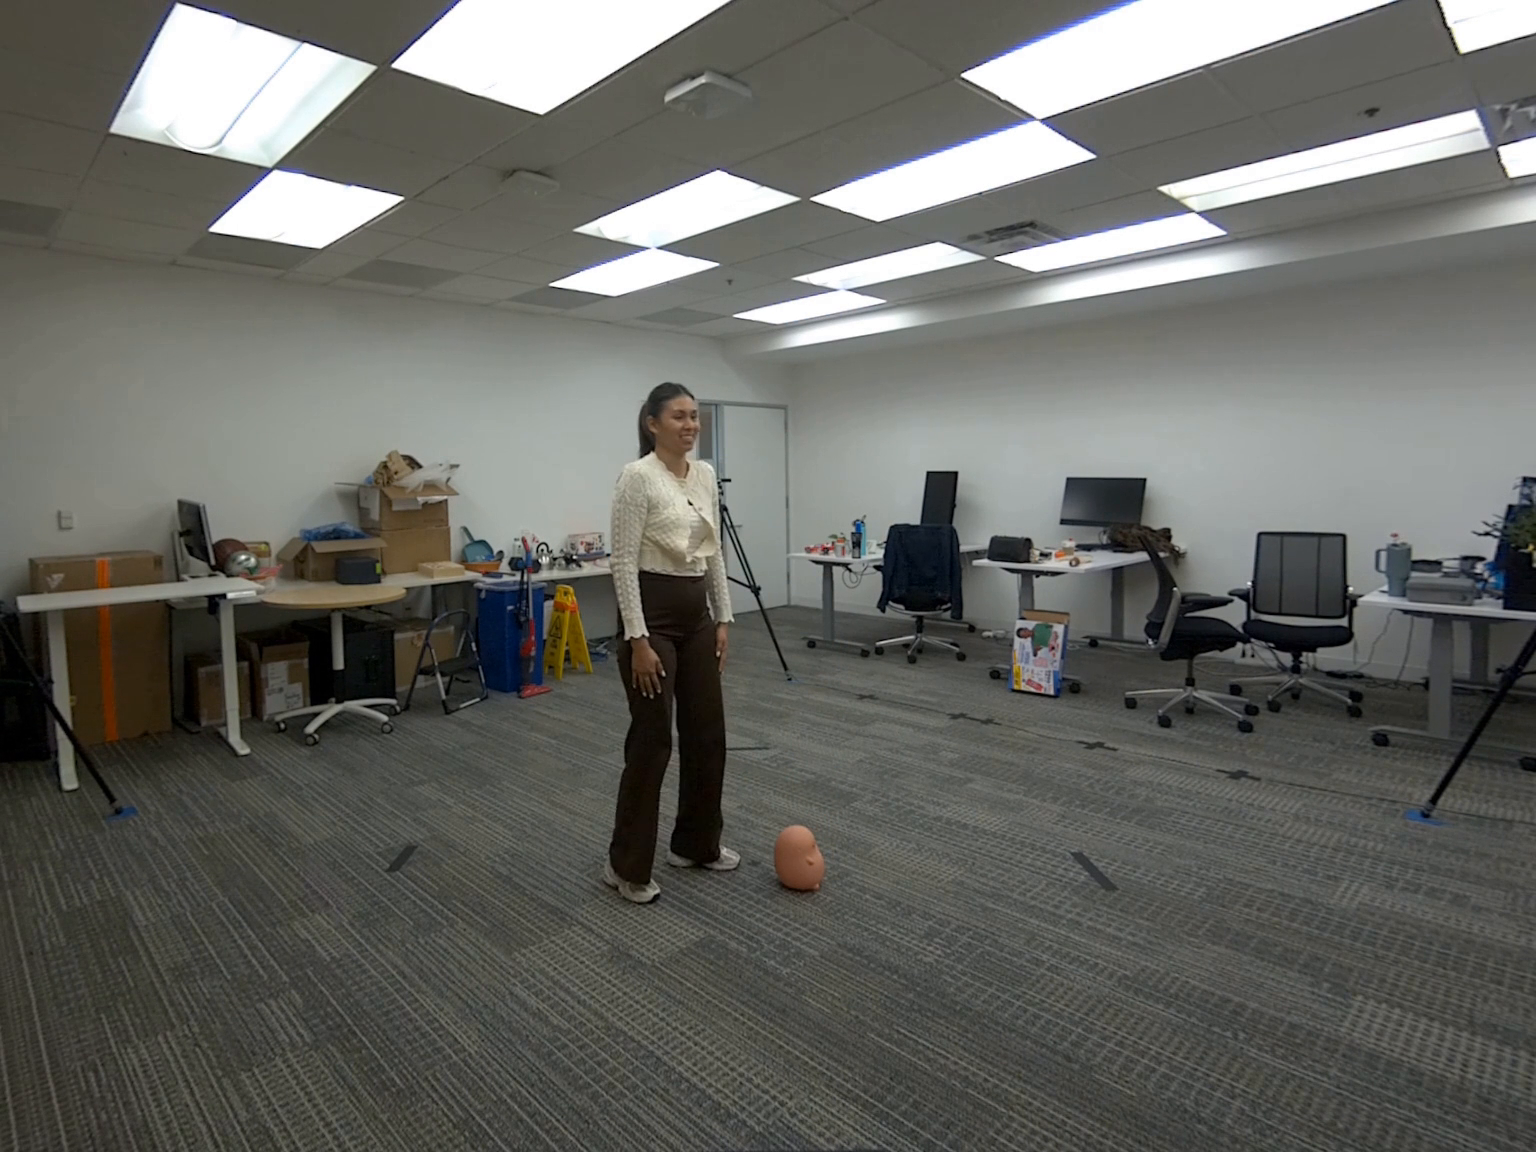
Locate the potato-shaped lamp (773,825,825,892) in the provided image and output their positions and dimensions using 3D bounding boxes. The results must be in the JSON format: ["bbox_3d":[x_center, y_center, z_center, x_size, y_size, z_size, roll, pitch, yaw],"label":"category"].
[{"bbox_3d":[0.106,0.956,2.933,0.174,0.197,0.163,-2,4,14],"label":"potato-shaped lamp"}]
